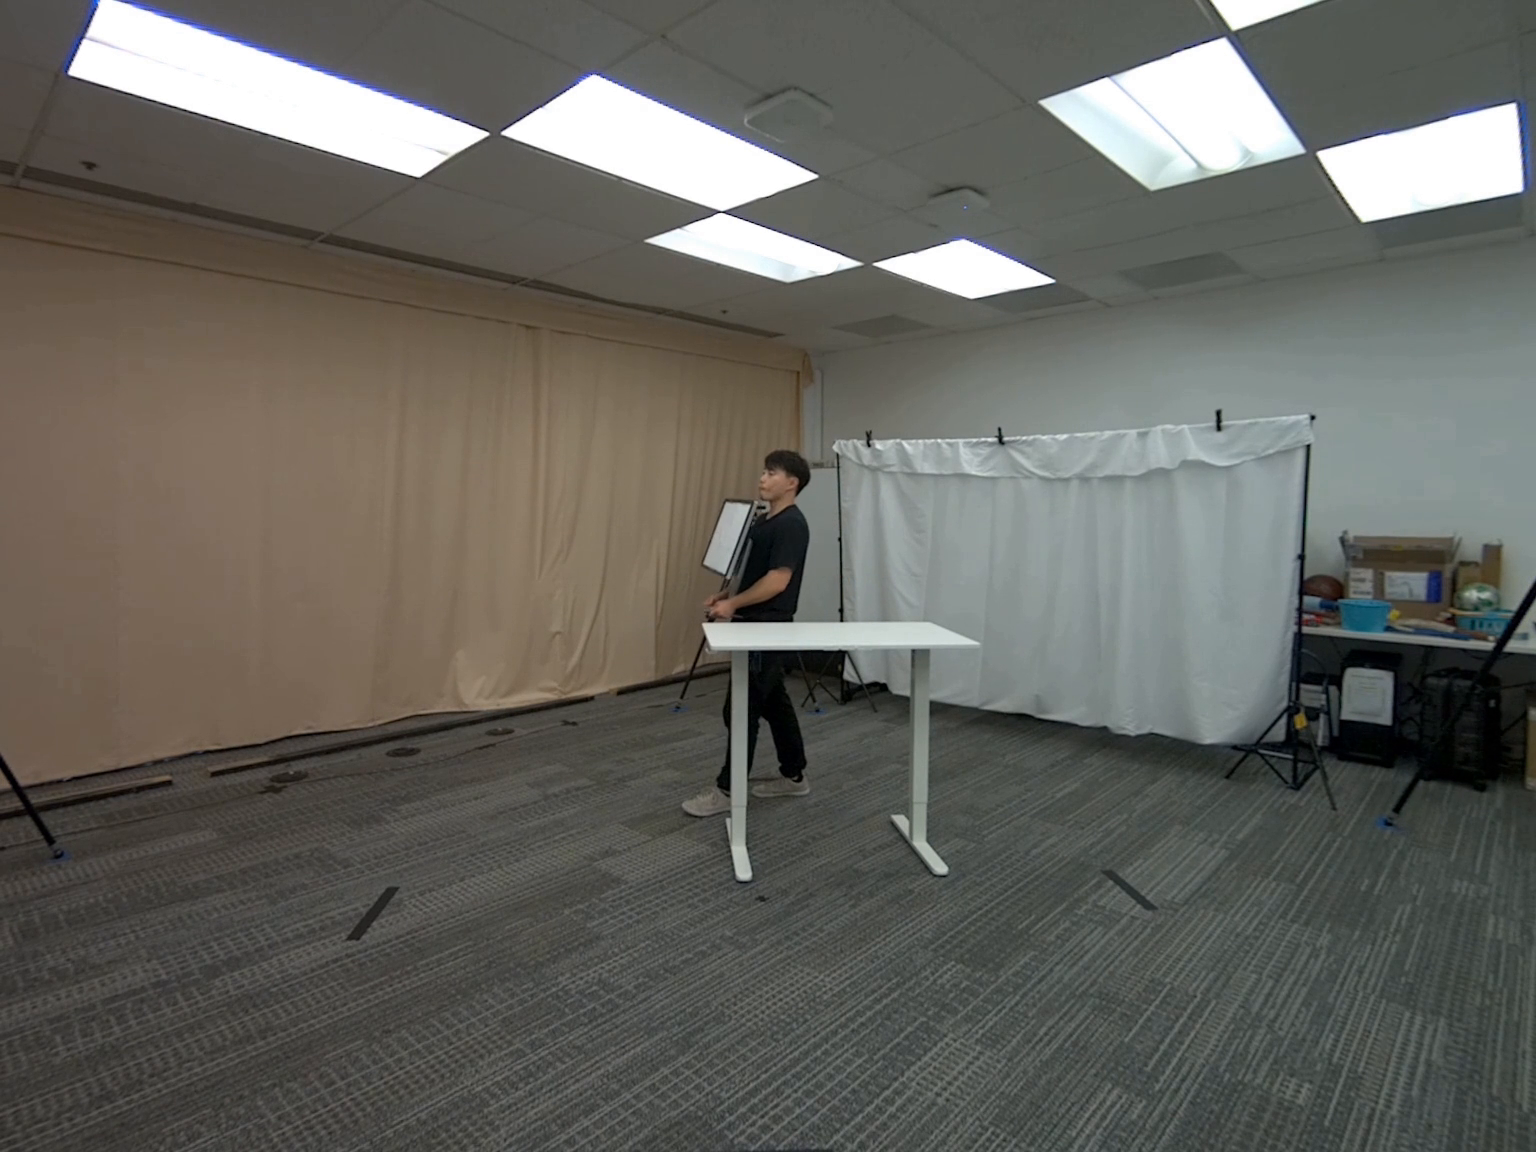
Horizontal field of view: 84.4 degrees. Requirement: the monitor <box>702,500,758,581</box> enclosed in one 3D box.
[{"bbox_3d":[-0.177,-0.093,3.960,0.184,0.522,0.549,9,3,-17],"label":"monitor"}]
